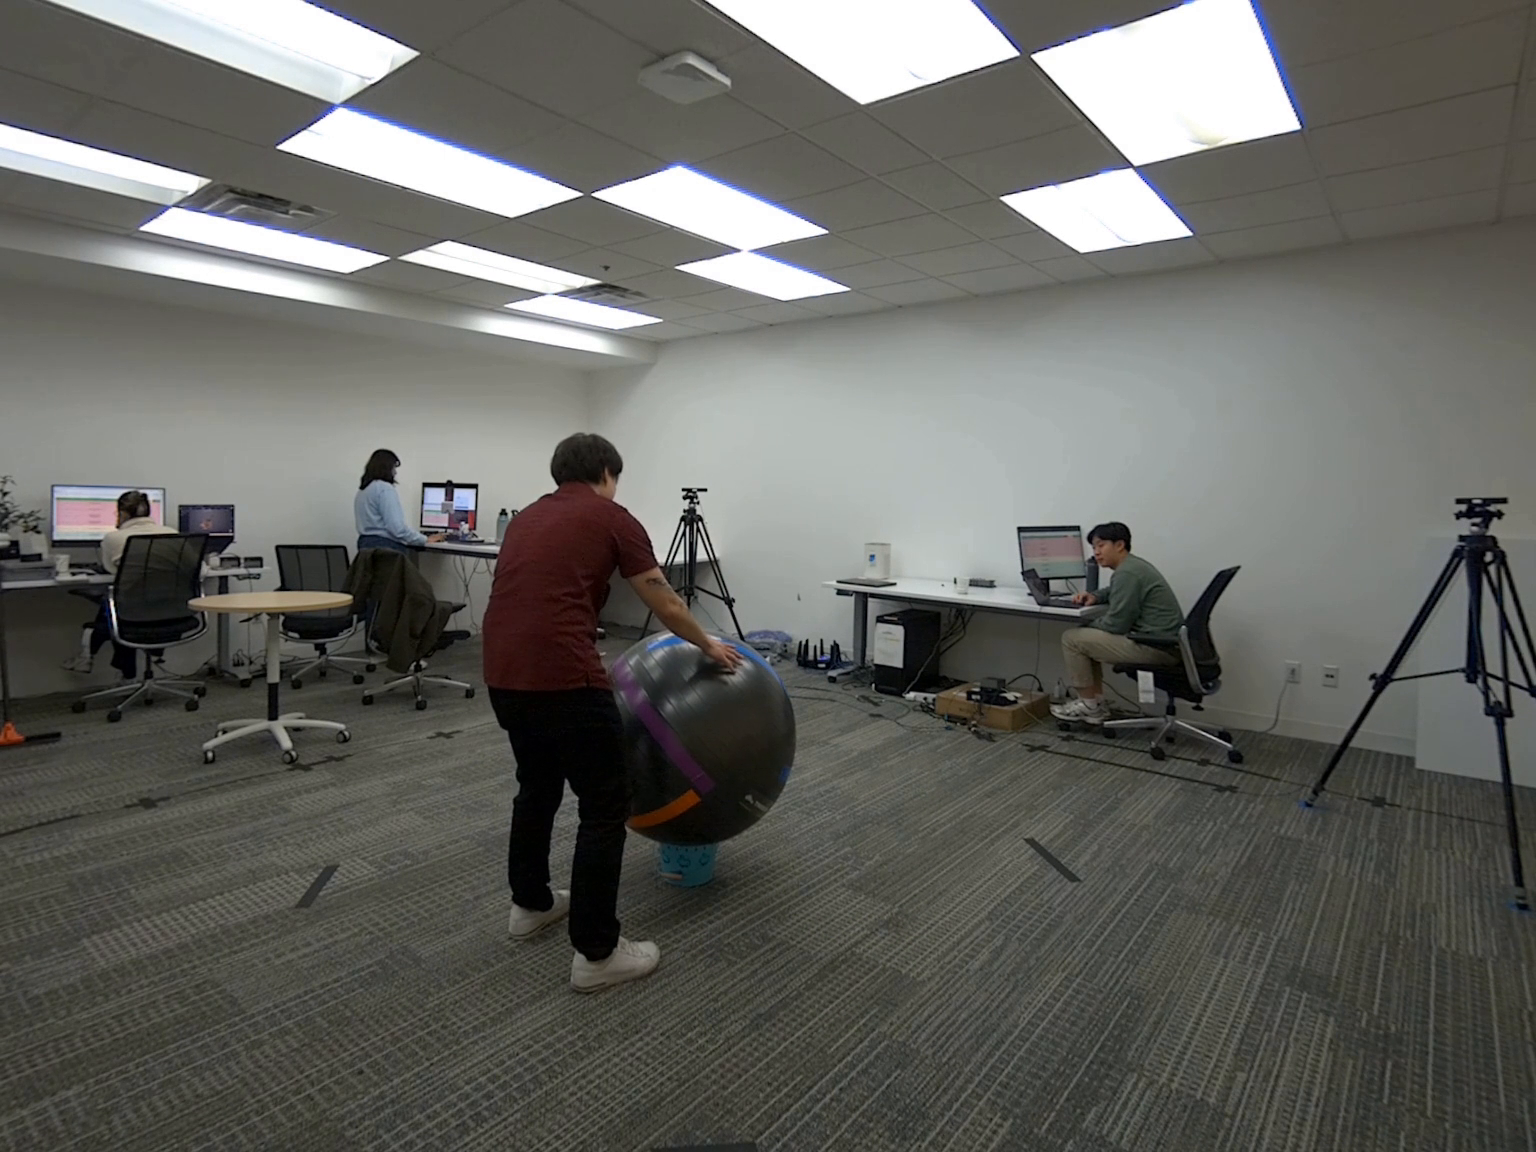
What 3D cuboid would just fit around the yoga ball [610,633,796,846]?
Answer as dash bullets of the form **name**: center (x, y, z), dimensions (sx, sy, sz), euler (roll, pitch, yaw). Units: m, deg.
- **yoga ball**: center (-0.276, 0.571, 3.046), dimensions (0.757, 0.755, 0.762), euler (1, 4, -2)
